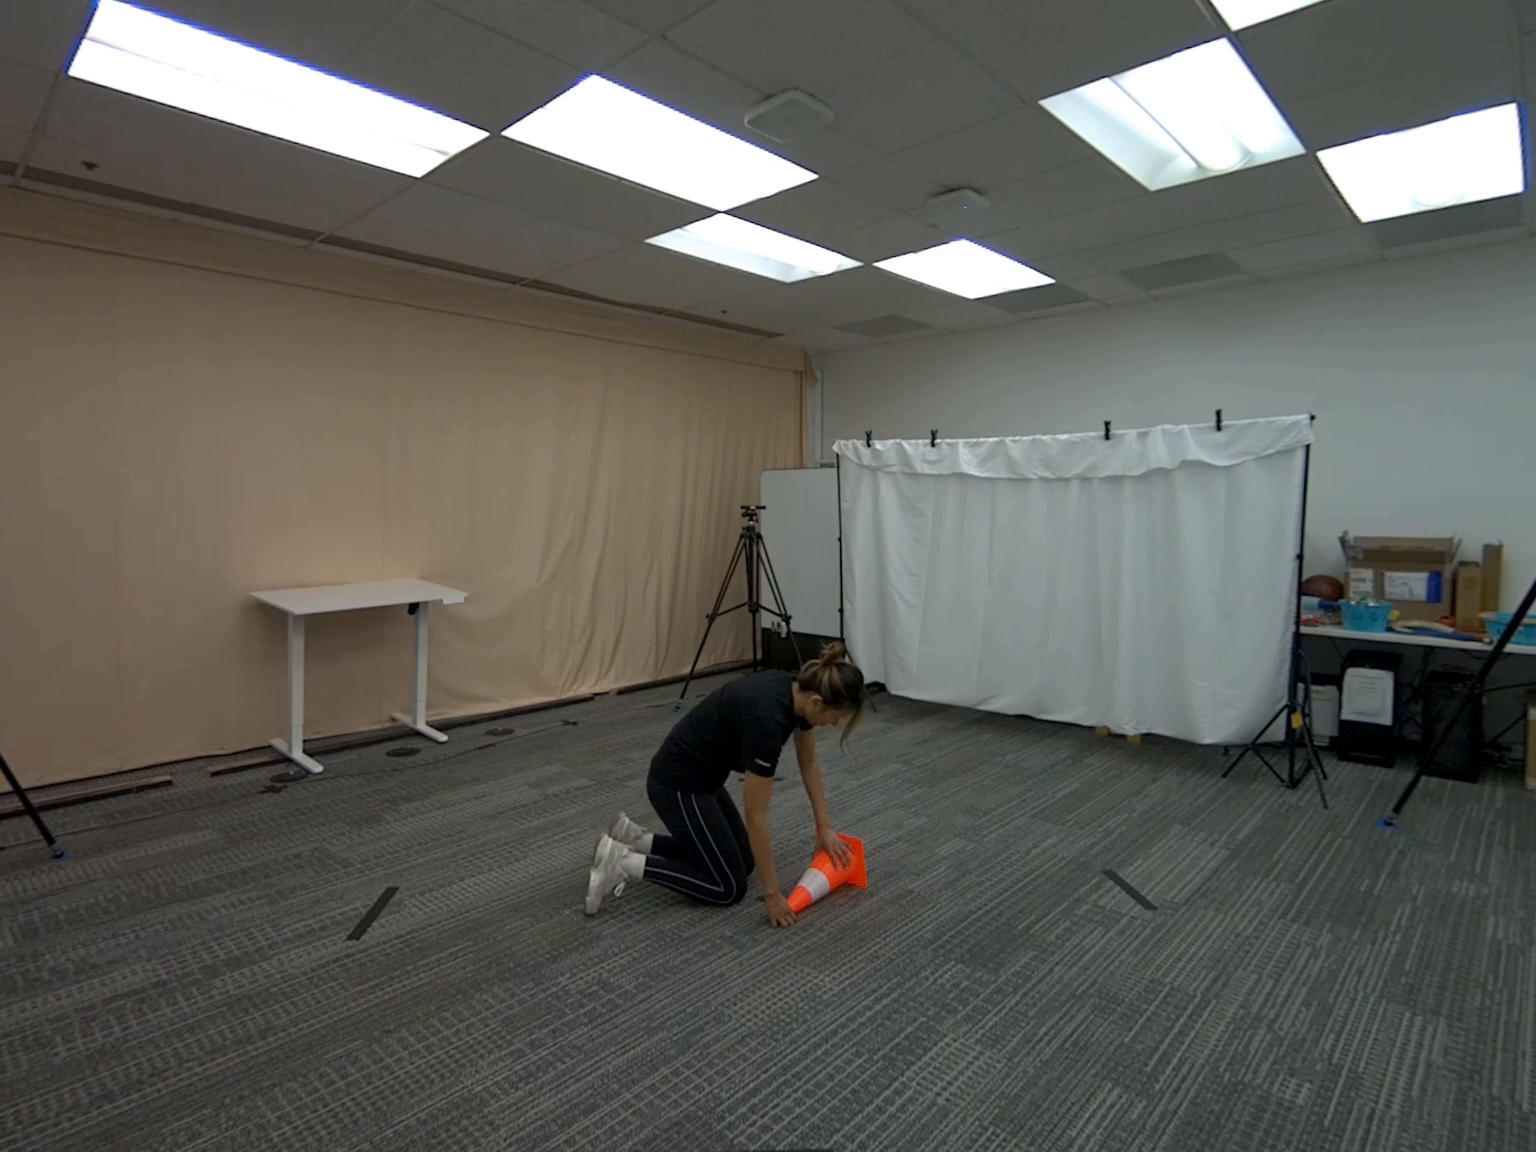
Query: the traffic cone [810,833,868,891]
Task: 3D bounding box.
[{"bbox_3d":[0.166,1.095,2.957,0.211,0.201,0.376,4,20,36],"label":"traffic cone"}]
